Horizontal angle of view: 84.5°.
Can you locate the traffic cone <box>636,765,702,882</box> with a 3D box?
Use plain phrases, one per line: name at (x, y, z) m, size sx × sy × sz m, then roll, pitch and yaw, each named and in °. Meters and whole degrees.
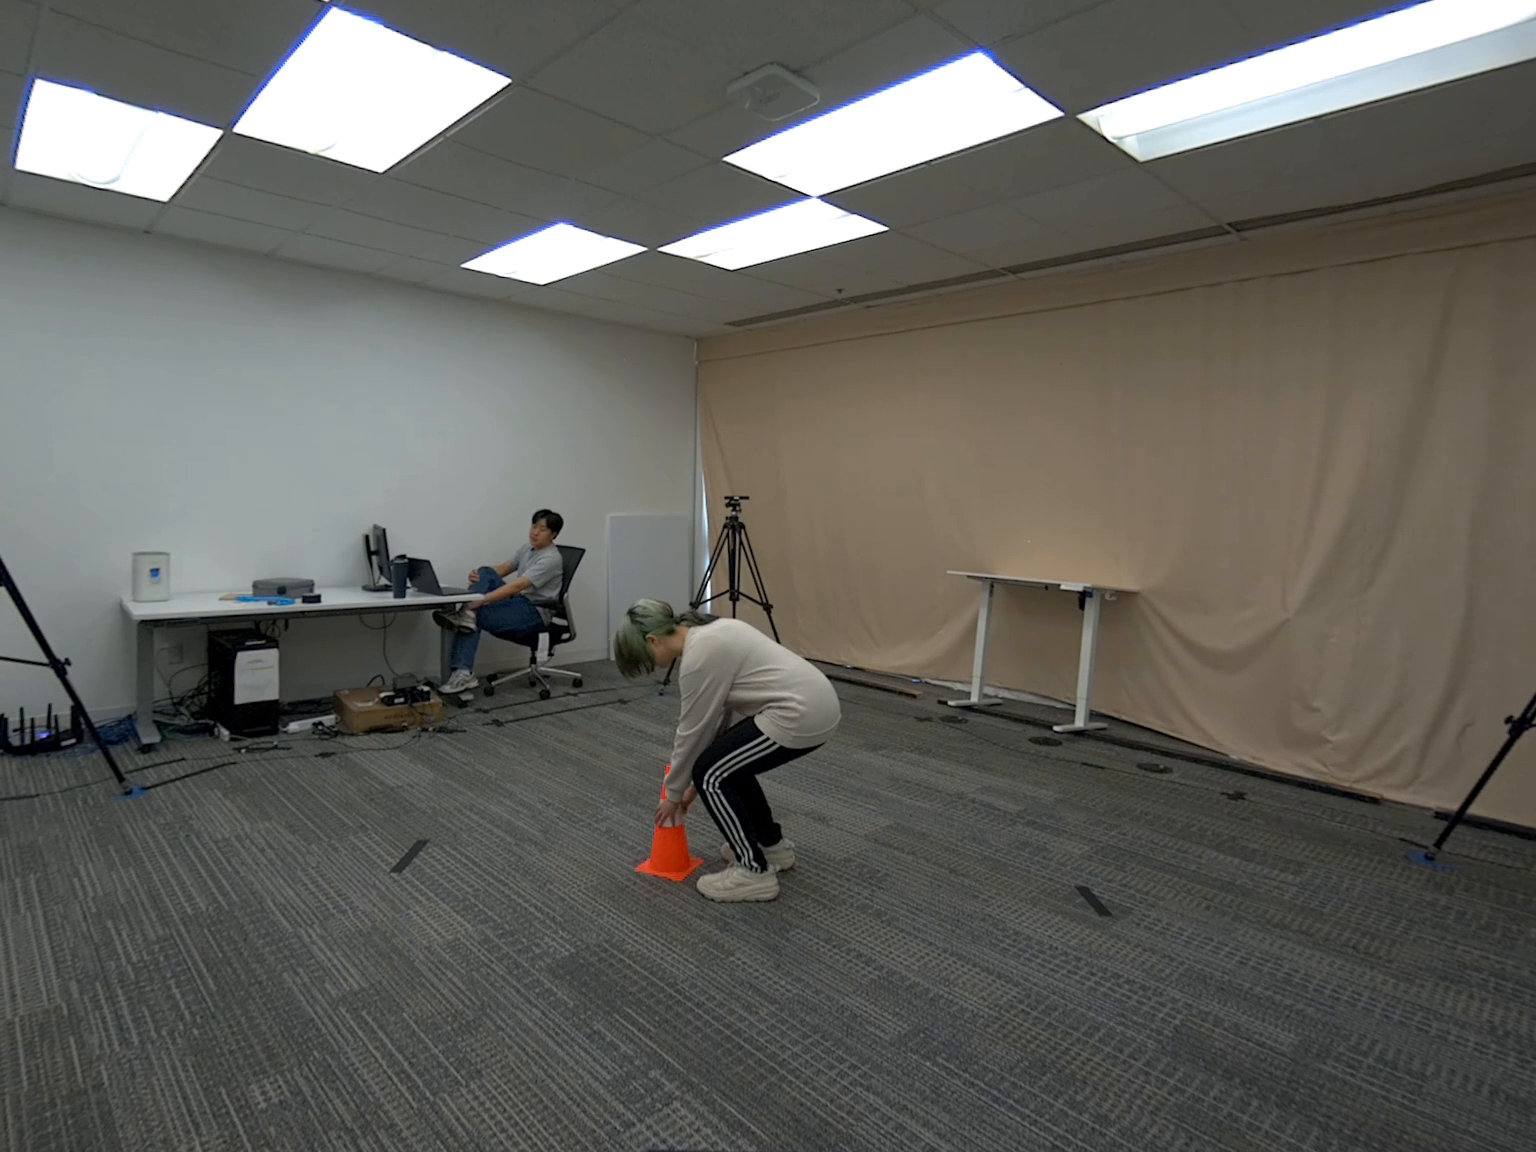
traffic cone at (-0.370, 0.902, 3.166) m, size 0.207 × 0.383 × 0.202 m, roll 2°, pitch 3°, yaw 22°
